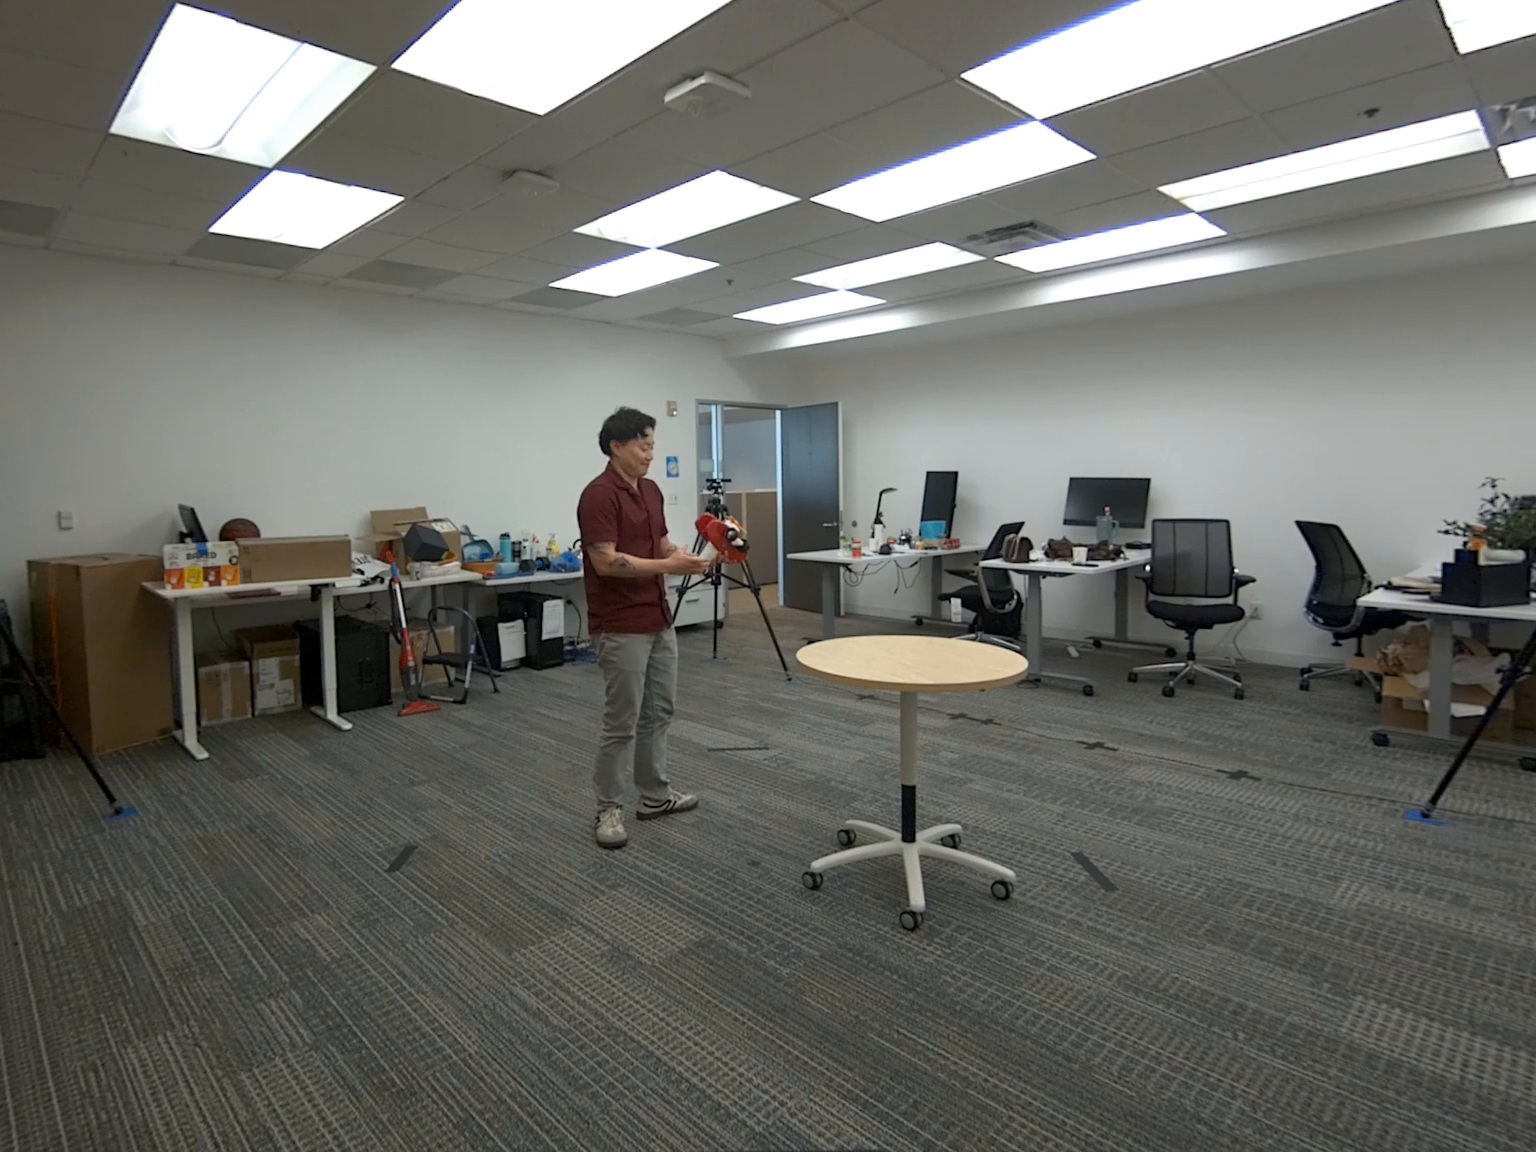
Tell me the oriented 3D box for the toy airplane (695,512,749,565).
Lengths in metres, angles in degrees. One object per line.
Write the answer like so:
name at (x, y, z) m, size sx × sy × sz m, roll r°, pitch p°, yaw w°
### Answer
toy airplane at (-0.213, -0.143, 3.380) m, size 0.257 × 0.243 × 0.162 m, roll -21°, pitch 40°, yaw -13°
